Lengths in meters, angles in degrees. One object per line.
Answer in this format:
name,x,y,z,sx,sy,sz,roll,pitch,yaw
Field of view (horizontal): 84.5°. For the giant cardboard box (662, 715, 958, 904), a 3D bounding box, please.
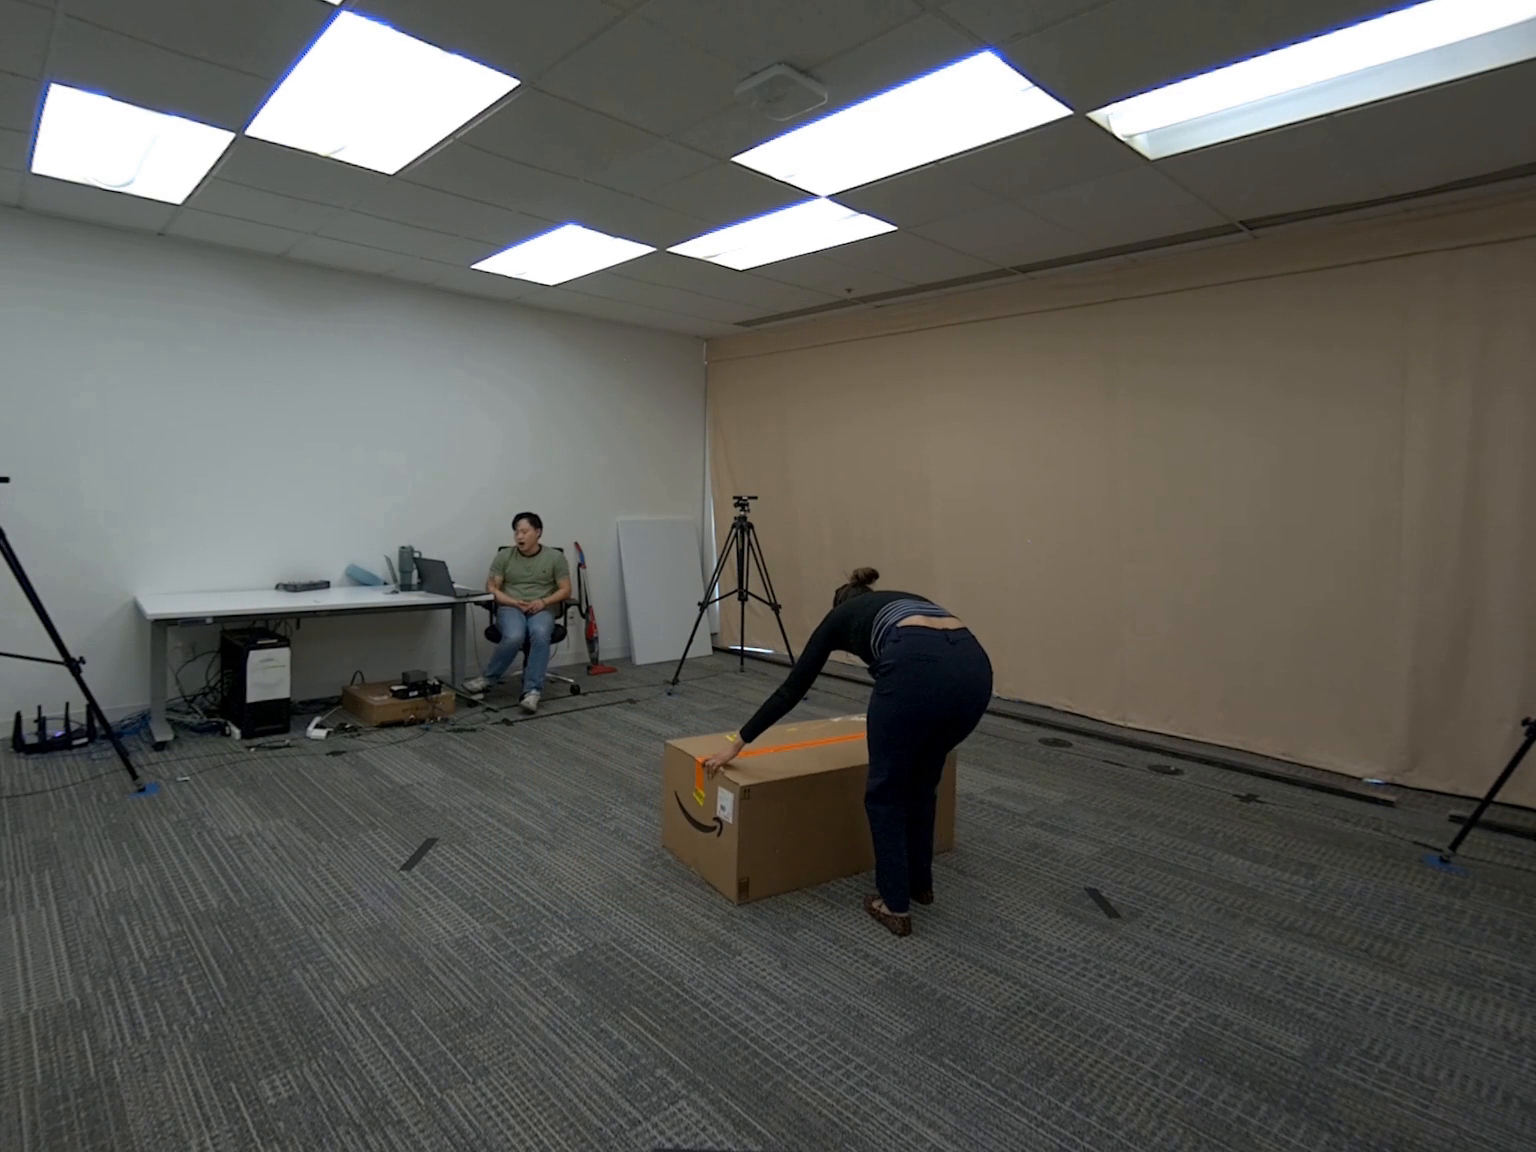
giant cardboard box,0.160,0.871,3.354,1.005,0.425,0.591,-2,5,-32
